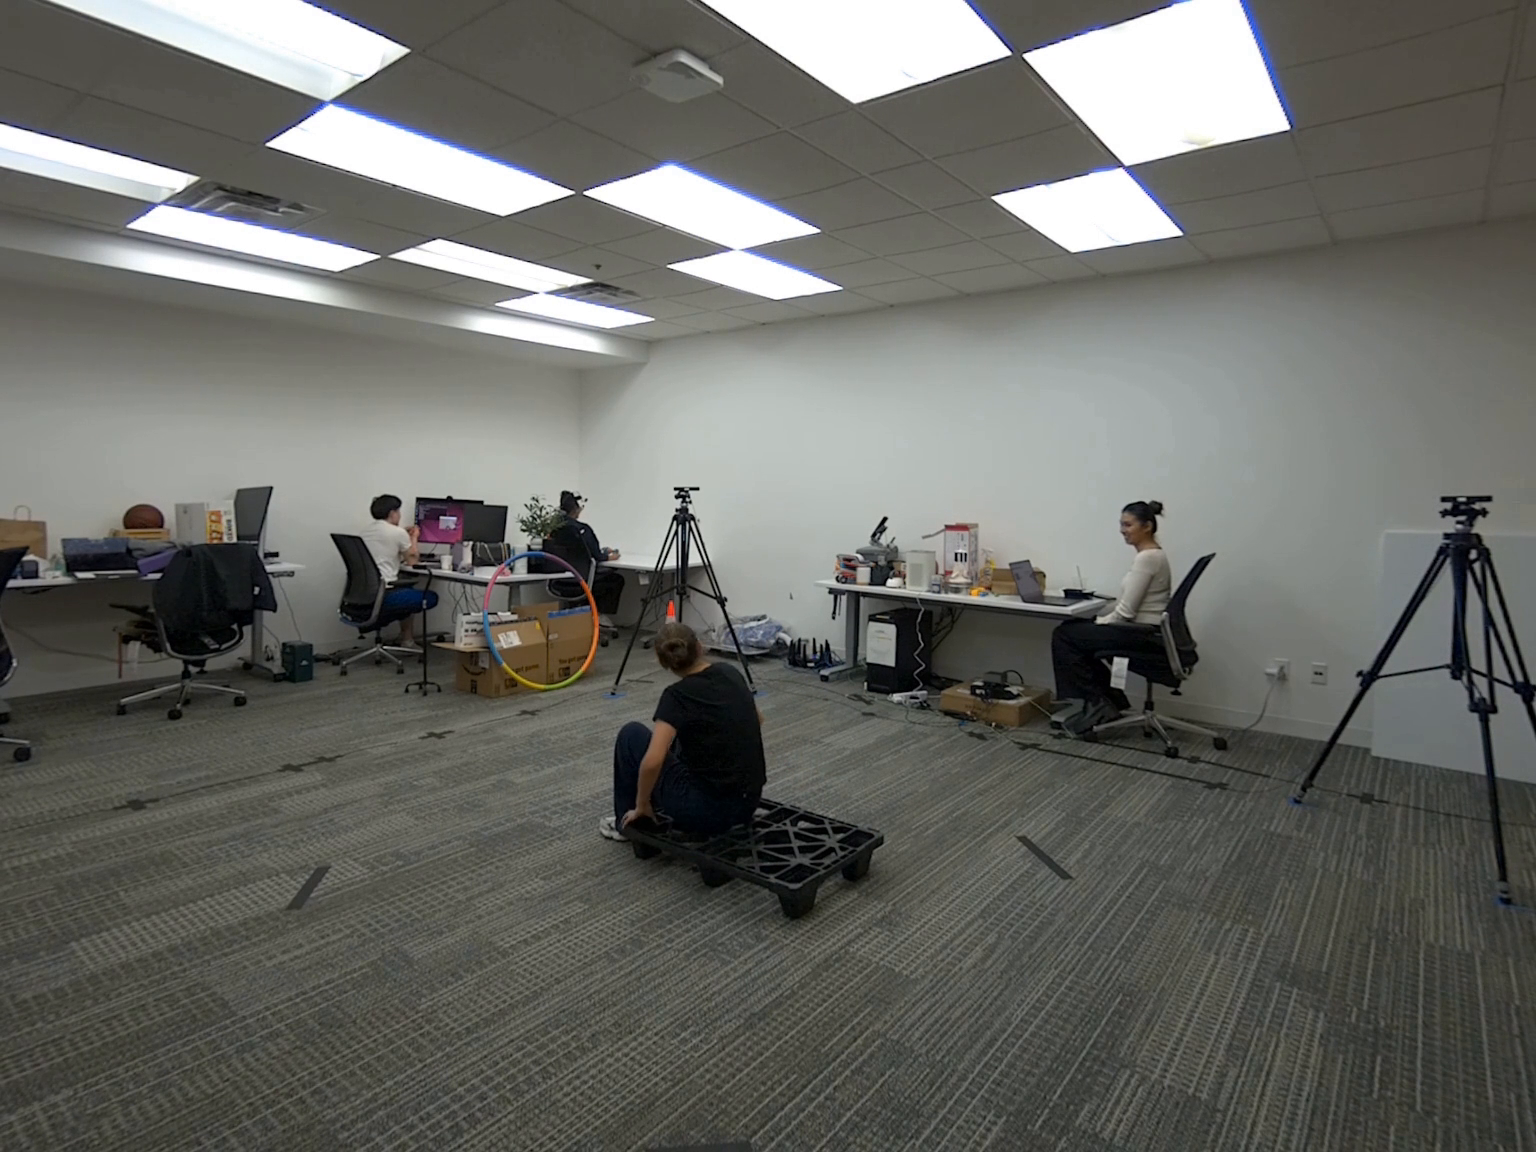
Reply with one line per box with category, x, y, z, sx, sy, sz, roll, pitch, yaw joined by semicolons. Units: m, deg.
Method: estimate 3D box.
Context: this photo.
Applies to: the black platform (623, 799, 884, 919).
black platform;-0.046;1.000;3.158;0.832;0.143;0.587;5;6;38
